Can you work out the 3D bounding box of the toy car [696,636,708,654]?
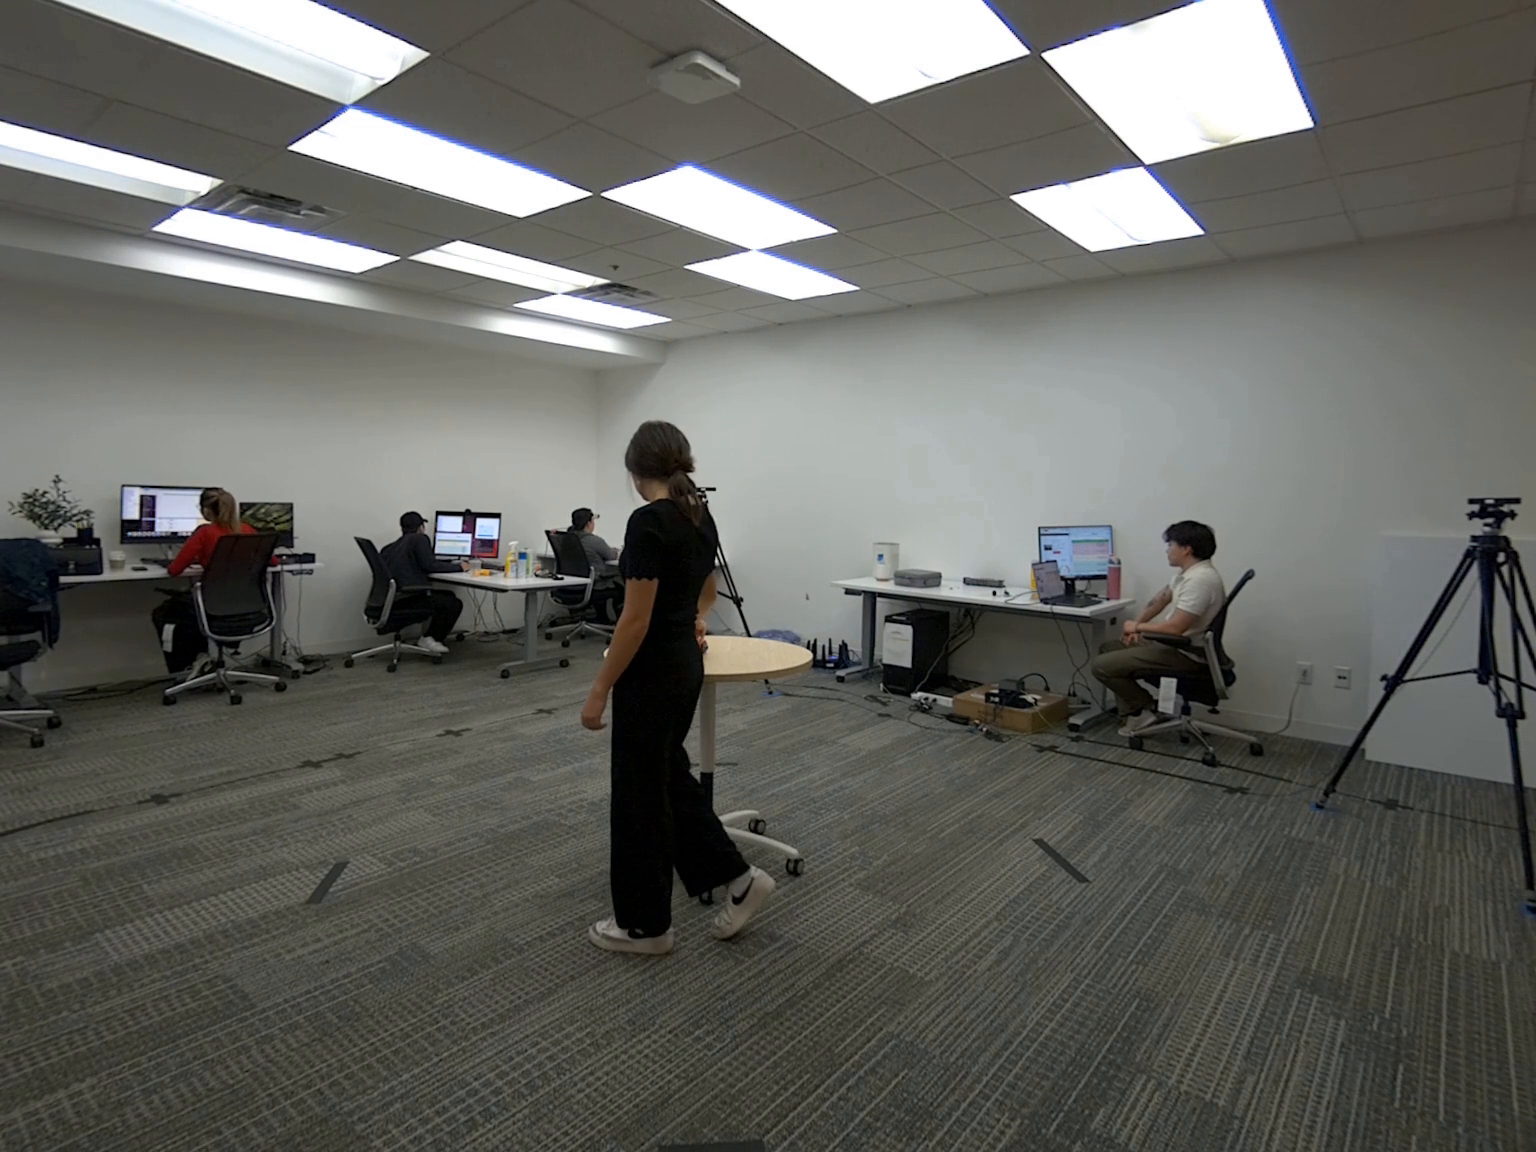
[{"bbox_3d":[-0.323,0.252,3.051,0.133,0.084,0.247,3,-6,21],"label":"toy car"}]
